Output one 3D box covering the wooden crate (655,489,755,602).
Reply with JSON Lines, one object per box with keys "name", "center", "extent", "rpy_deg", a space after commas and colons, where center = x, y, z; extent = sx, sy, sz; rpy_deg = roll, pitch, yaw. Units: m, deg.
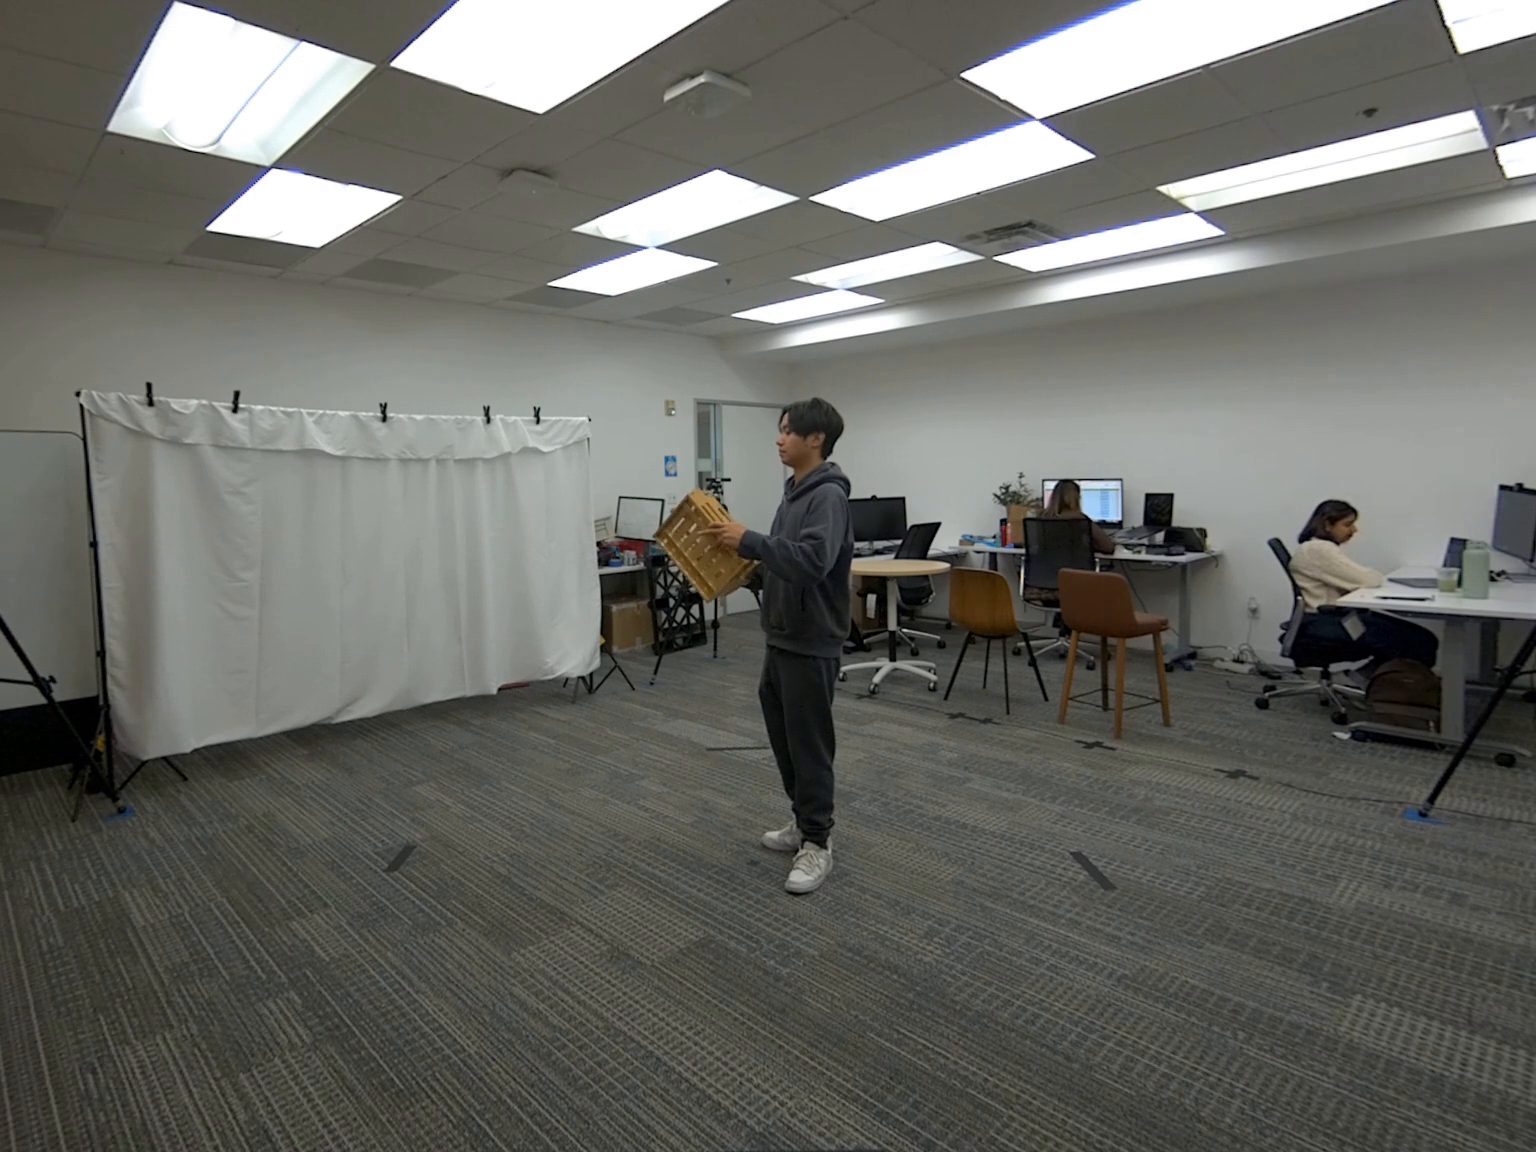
{"name": "wooden crate", "center": [-0.170, -0.124, 2.948], "extent": [0.302, 0.328, 0.270], "rpy_deg": [-47, -9, 34]}
